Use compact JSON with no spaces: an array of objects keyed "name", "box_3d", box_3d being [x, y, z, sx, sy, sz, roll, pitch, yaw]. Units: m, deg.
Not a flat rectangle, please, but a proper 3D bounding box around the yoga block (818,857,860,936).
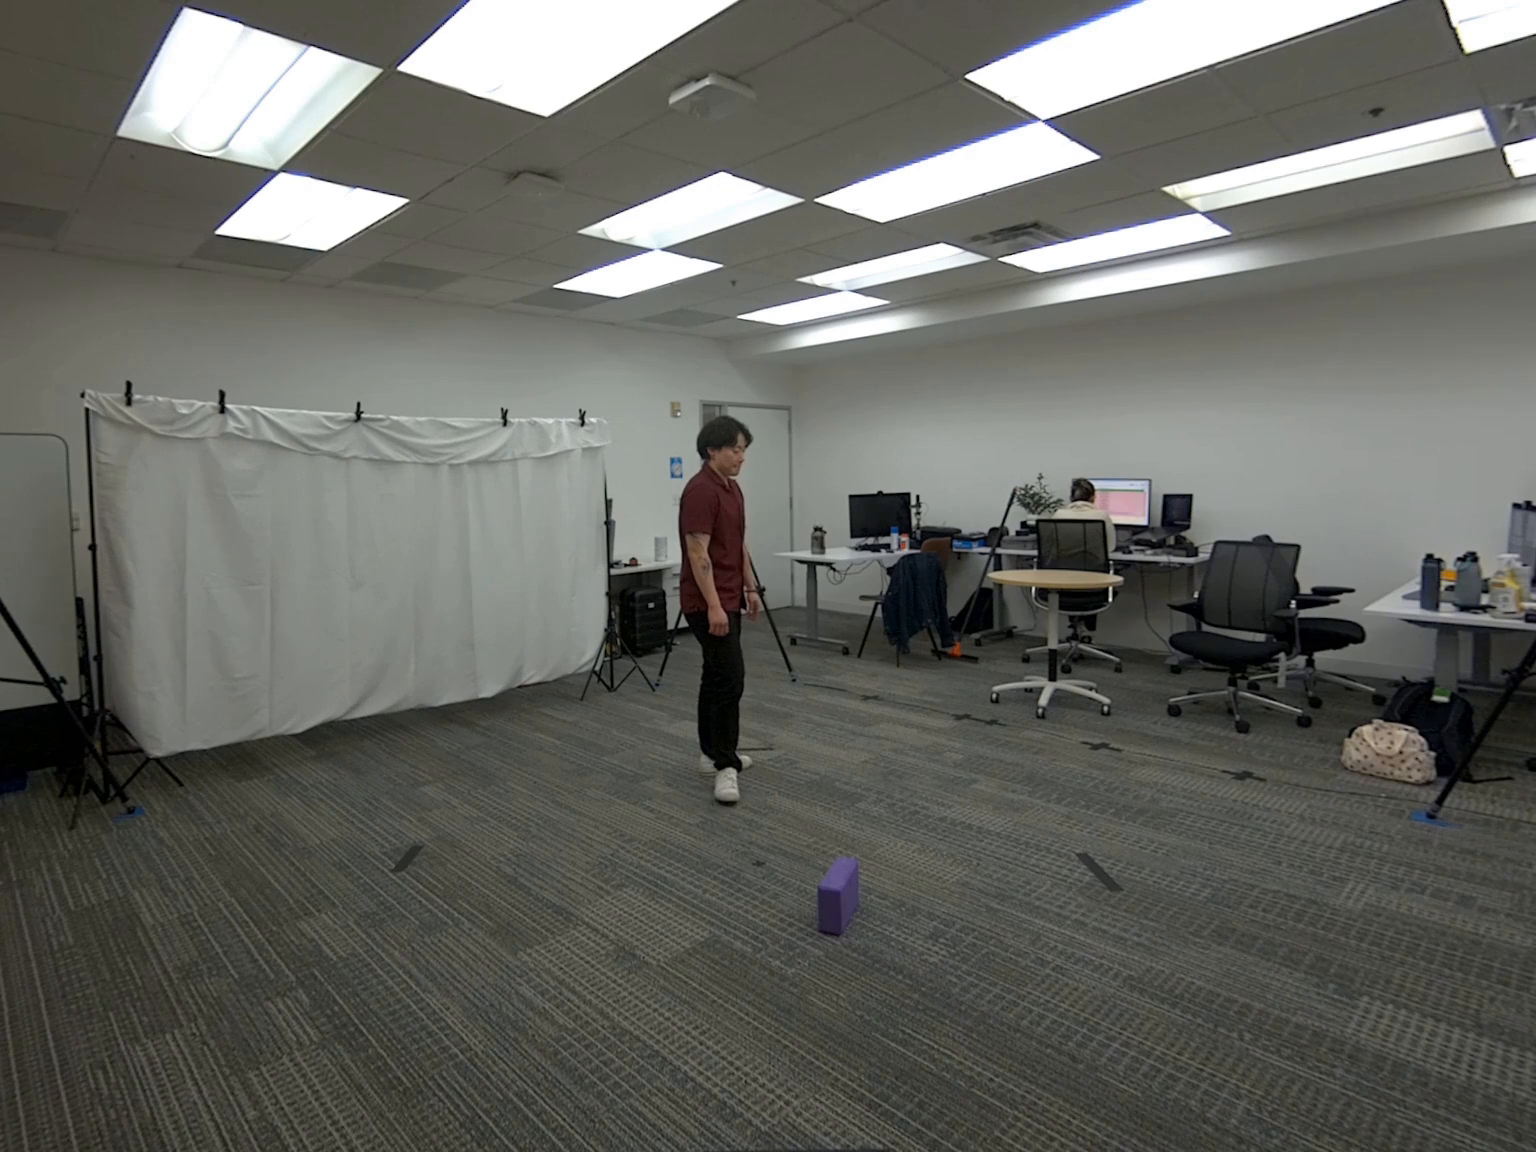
[{"name":"yoga block","box_3d":[0.231,1.010,2.715,0.078,0.148,0.226,2,7,20]}]
